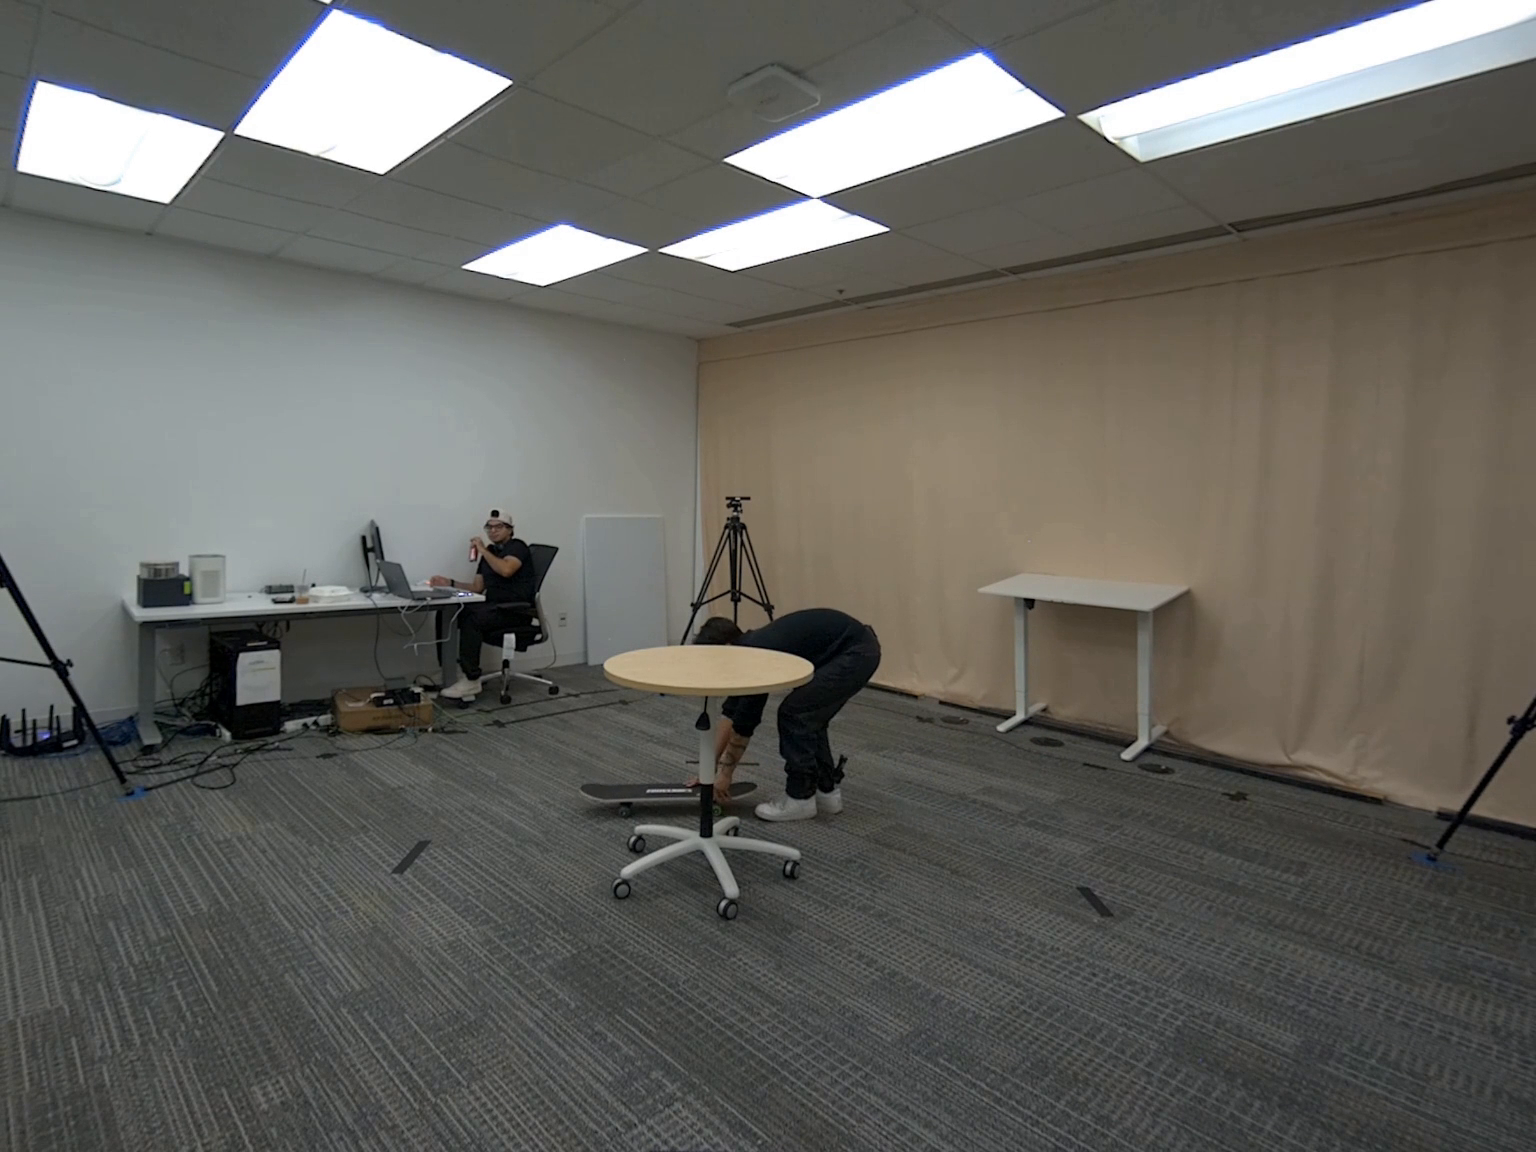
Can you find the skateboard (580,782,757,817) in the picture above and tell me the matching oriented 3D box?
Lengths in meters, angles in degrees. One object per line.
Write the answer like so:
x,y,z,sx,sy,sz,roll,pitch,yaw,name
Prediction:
-0.444,0.984,3.739,0.781,0.110,0.195,1,5,-6,skateboard
